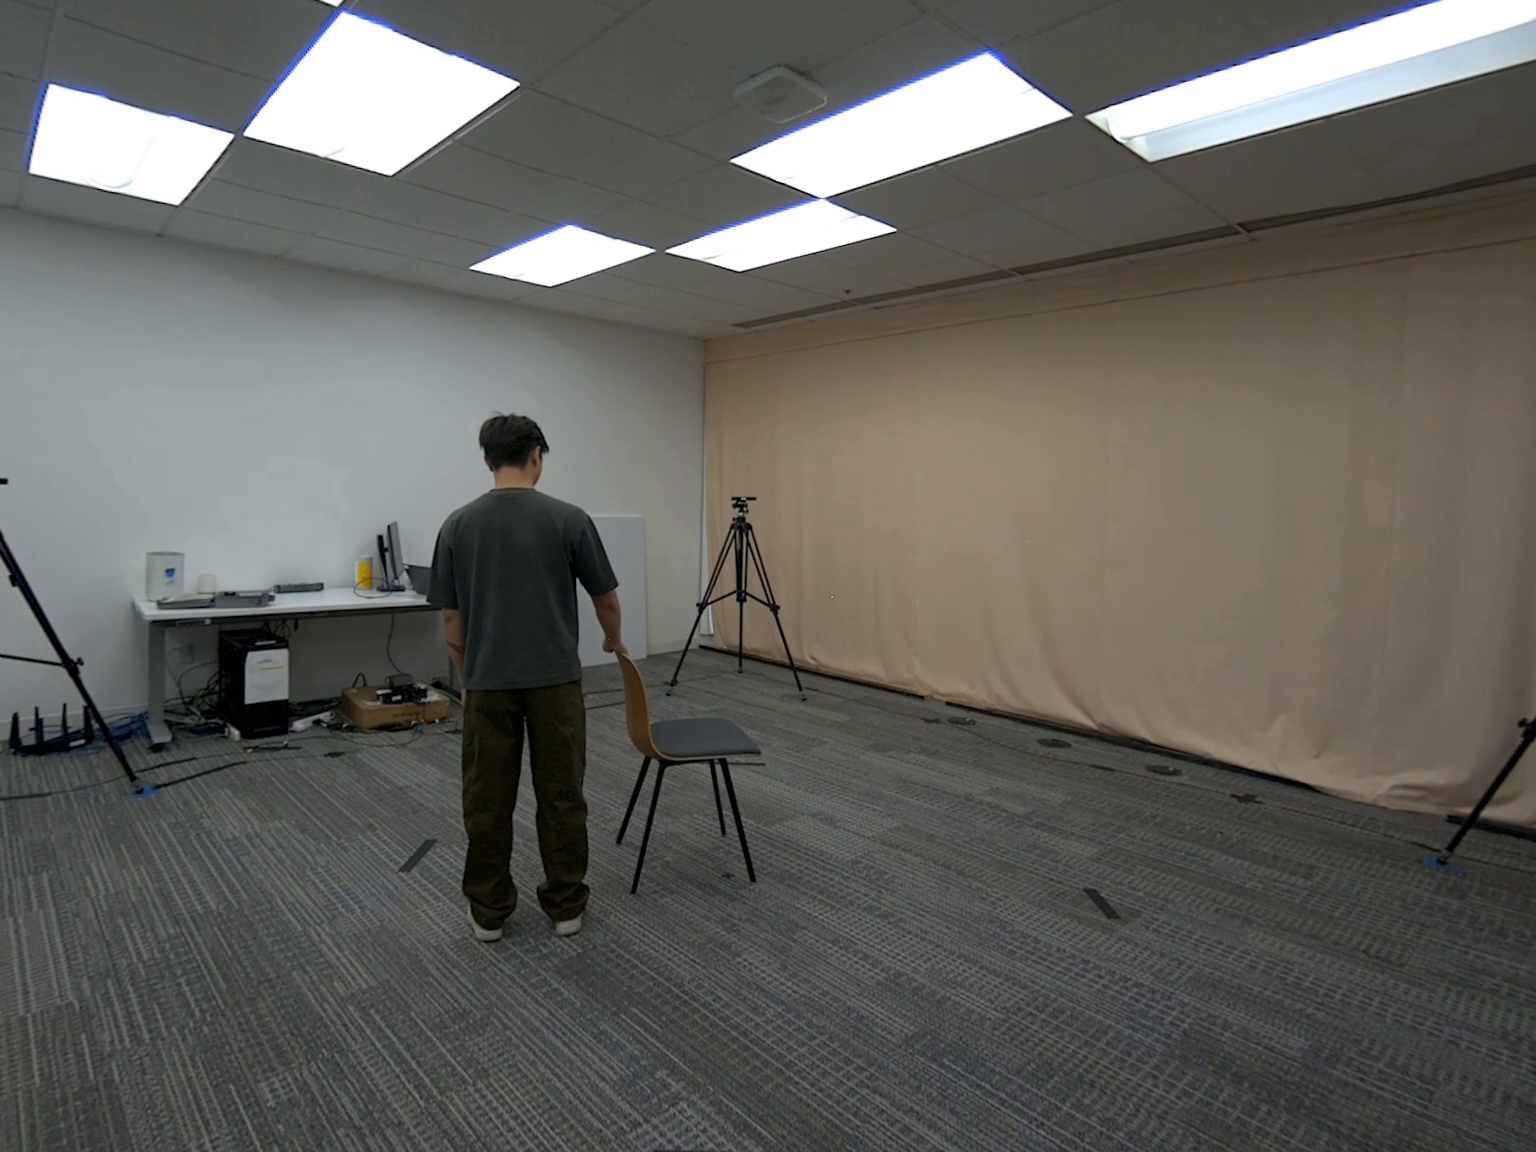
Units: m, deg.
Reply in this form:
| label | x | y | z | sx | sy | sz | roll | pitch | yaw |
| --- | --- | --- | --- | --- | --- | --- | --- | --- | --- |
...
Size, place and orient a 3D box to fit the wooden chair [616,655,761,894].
| label | x | y | z | sx | sy | sz | roll | pitch | yaw |
| --- | --- | --- | --- | --- | --- | --- | --- | --- | --- |
| wooden chair | -0.314 | 0.668 | 3.186 | 0.517 | 0.875 | 0.485 | -4 | 4 | -16 |
